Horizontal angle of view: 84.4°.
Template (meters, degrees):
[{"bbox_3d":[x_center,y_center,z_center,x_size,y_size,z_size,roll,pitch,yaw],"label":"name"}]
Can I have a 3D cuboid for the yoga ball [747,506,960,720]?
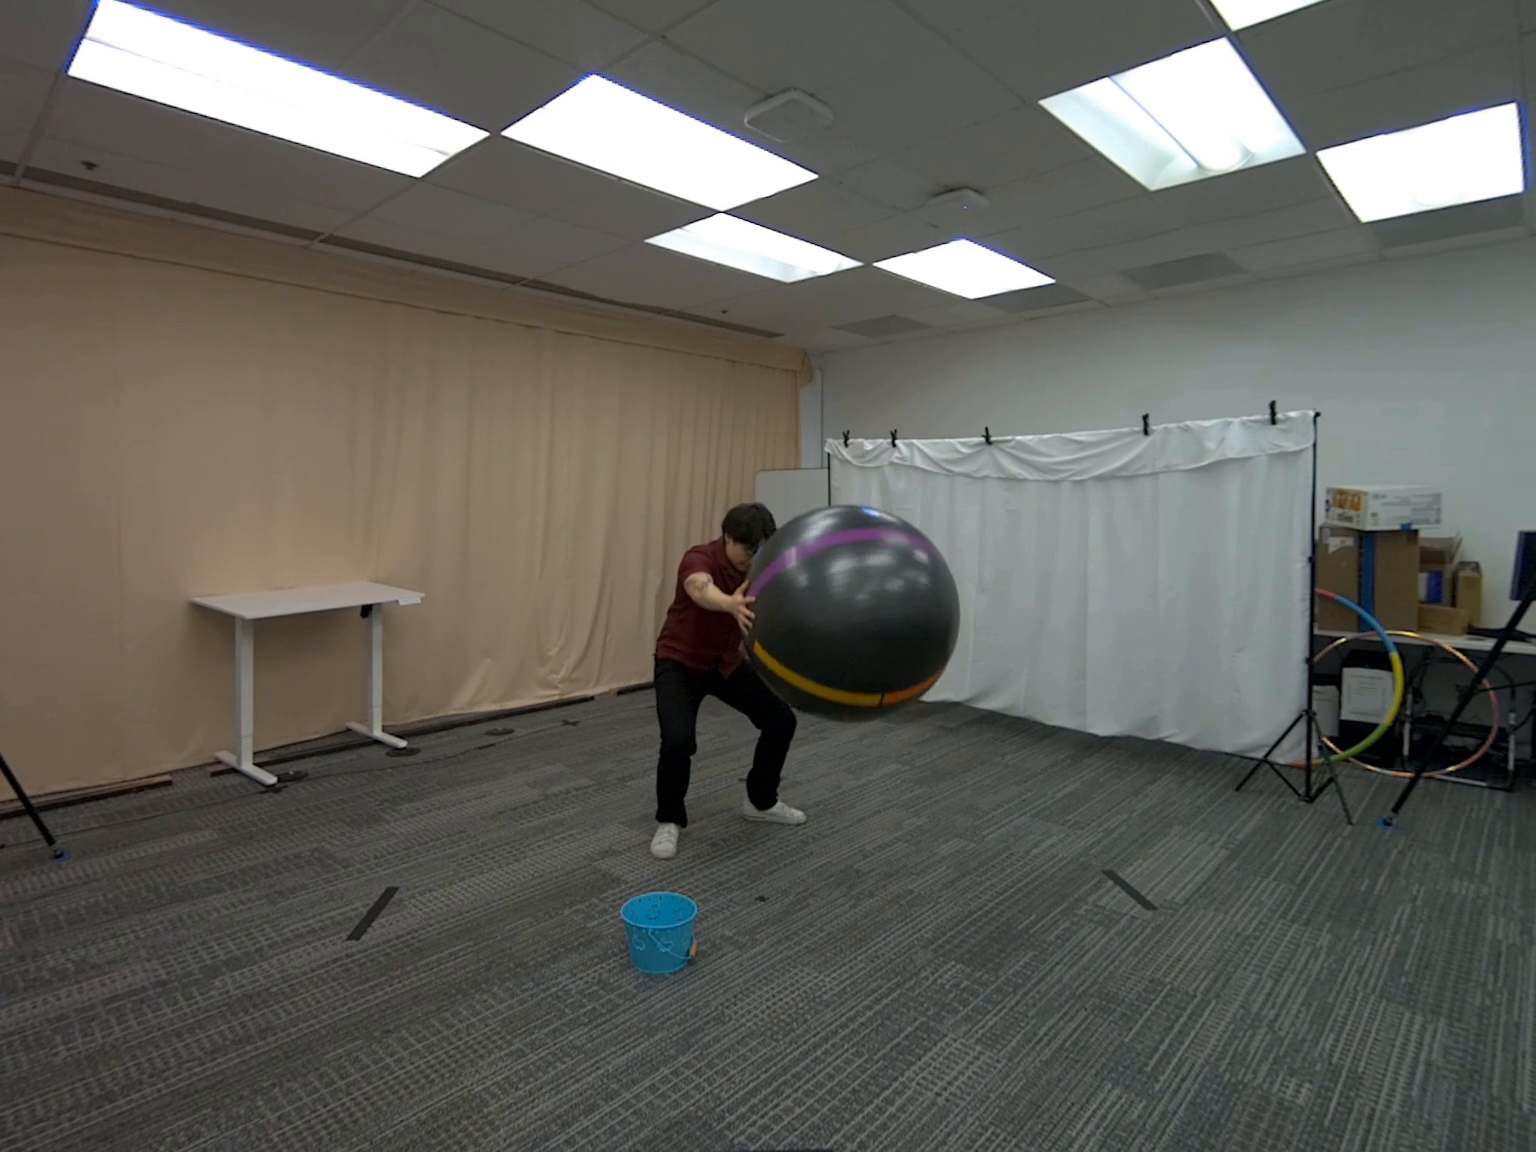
[{"bbox_3d":[0.282,0.131,2.960,0.757,0.756,0.760,0,4,-2],"label":"yoga ball"}]
